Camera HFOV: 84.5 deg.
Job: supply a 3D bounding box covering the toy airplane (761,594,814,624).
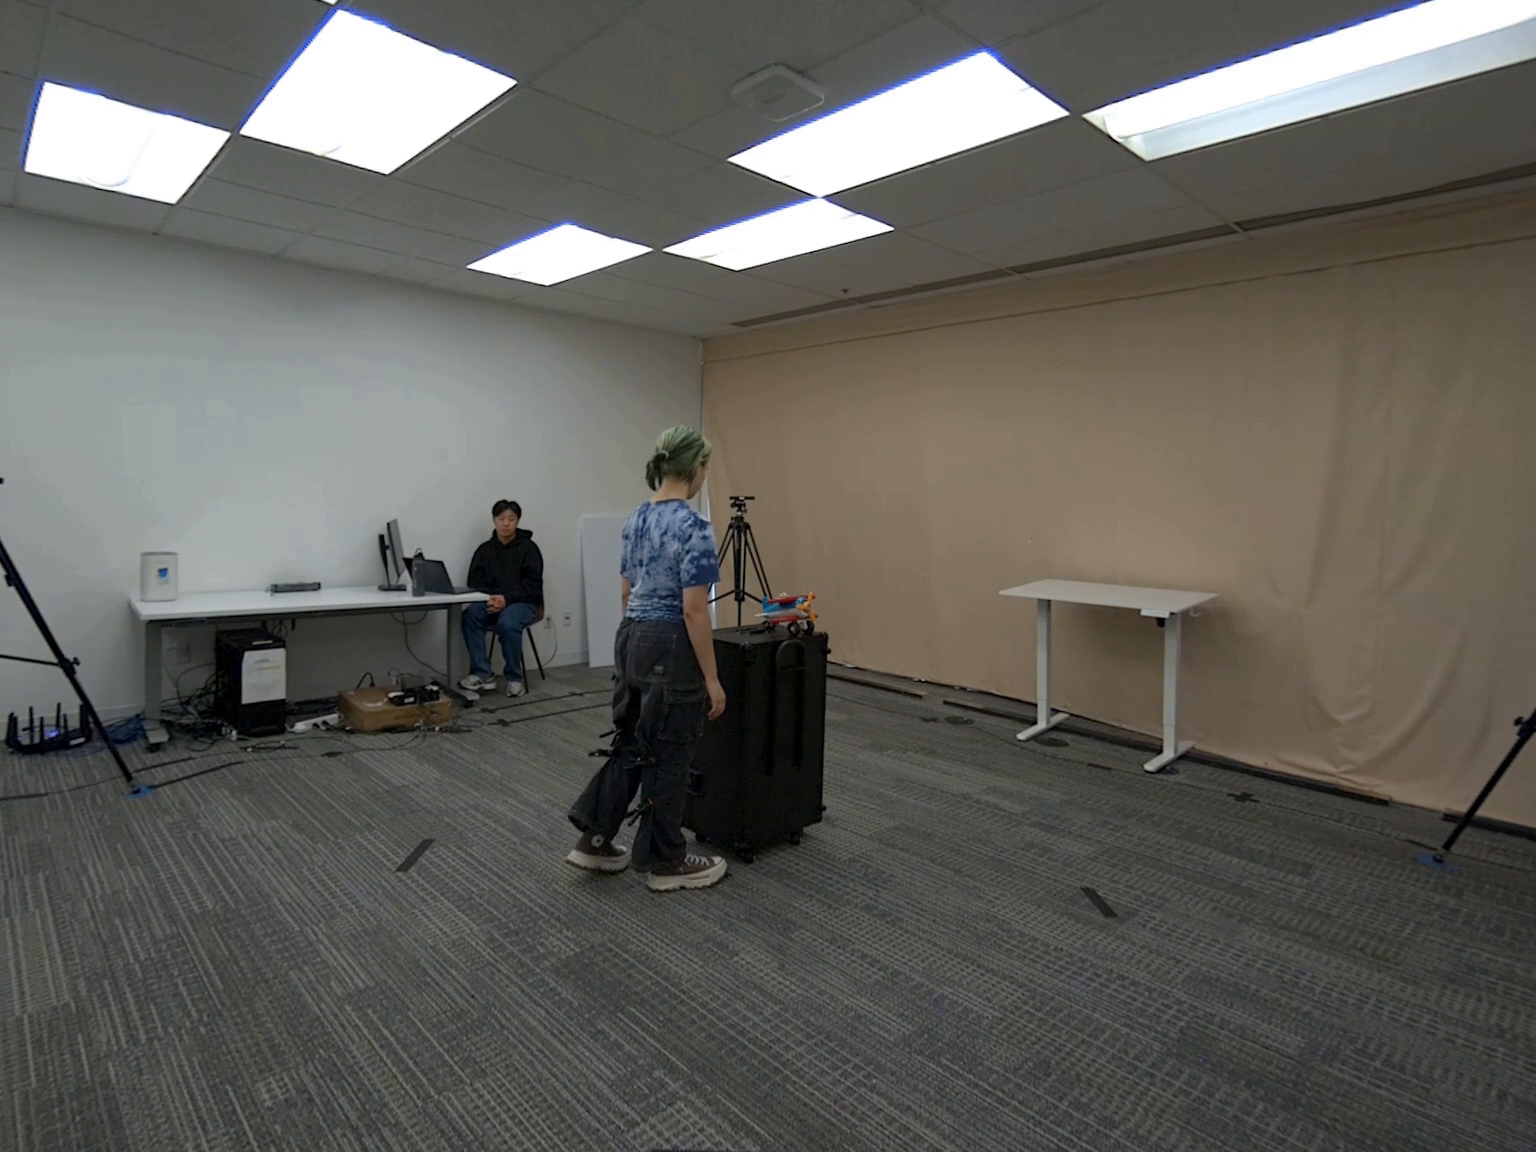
[{"bbox_3d":[0.046,0.155,3.438,0.263,0.156,0.248,4,7,16],"label":"toy airplane"}]
